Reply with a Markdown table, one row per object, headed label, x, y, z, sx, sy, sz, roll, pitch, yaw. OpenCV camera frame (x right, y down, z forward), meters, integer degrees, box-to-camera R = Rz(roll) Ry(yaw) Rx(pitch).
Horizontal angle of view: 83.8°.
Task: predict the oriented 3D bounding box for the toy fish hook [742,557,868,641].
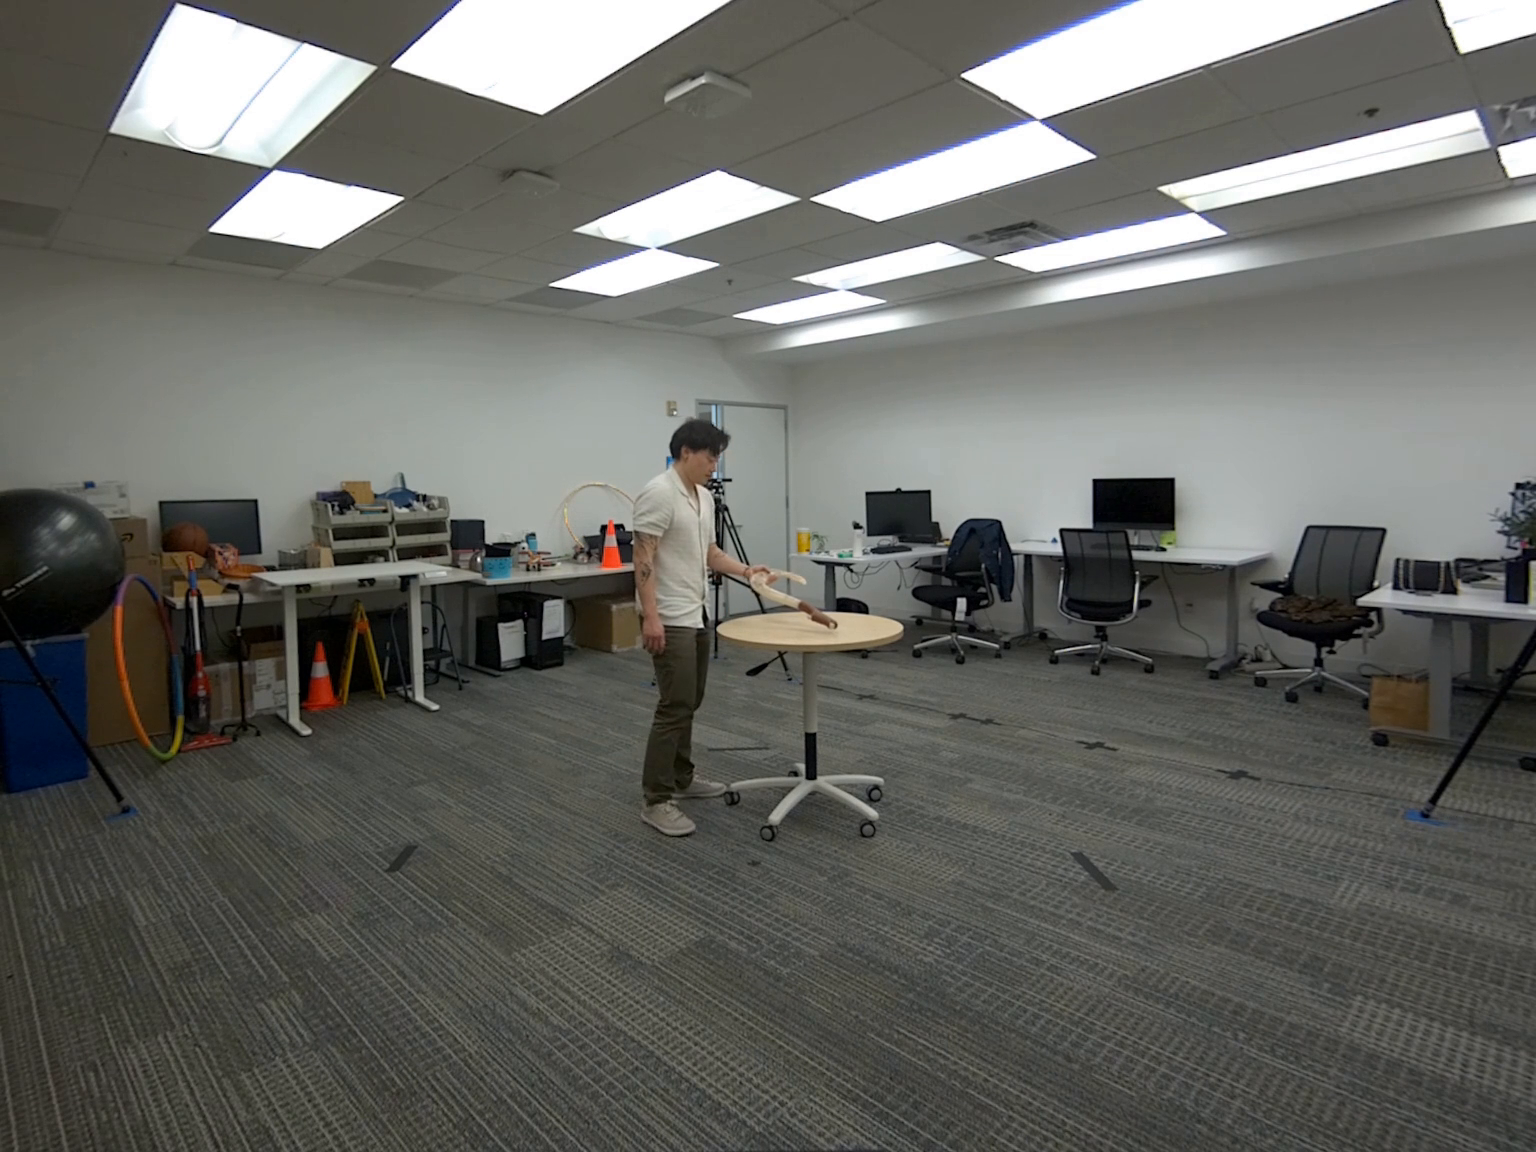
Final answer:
| label | x | y | z | sx | sy | sz | roll | pitch | yaw |
| --- | --- | --- | --- | --- | --- | --- | --- | --- | --- |
| toy fish hook | 0.142 | 0.083 | 3.549 | 0.221 | 0.047 | 0.526 | -26 | 39 | -32 |
